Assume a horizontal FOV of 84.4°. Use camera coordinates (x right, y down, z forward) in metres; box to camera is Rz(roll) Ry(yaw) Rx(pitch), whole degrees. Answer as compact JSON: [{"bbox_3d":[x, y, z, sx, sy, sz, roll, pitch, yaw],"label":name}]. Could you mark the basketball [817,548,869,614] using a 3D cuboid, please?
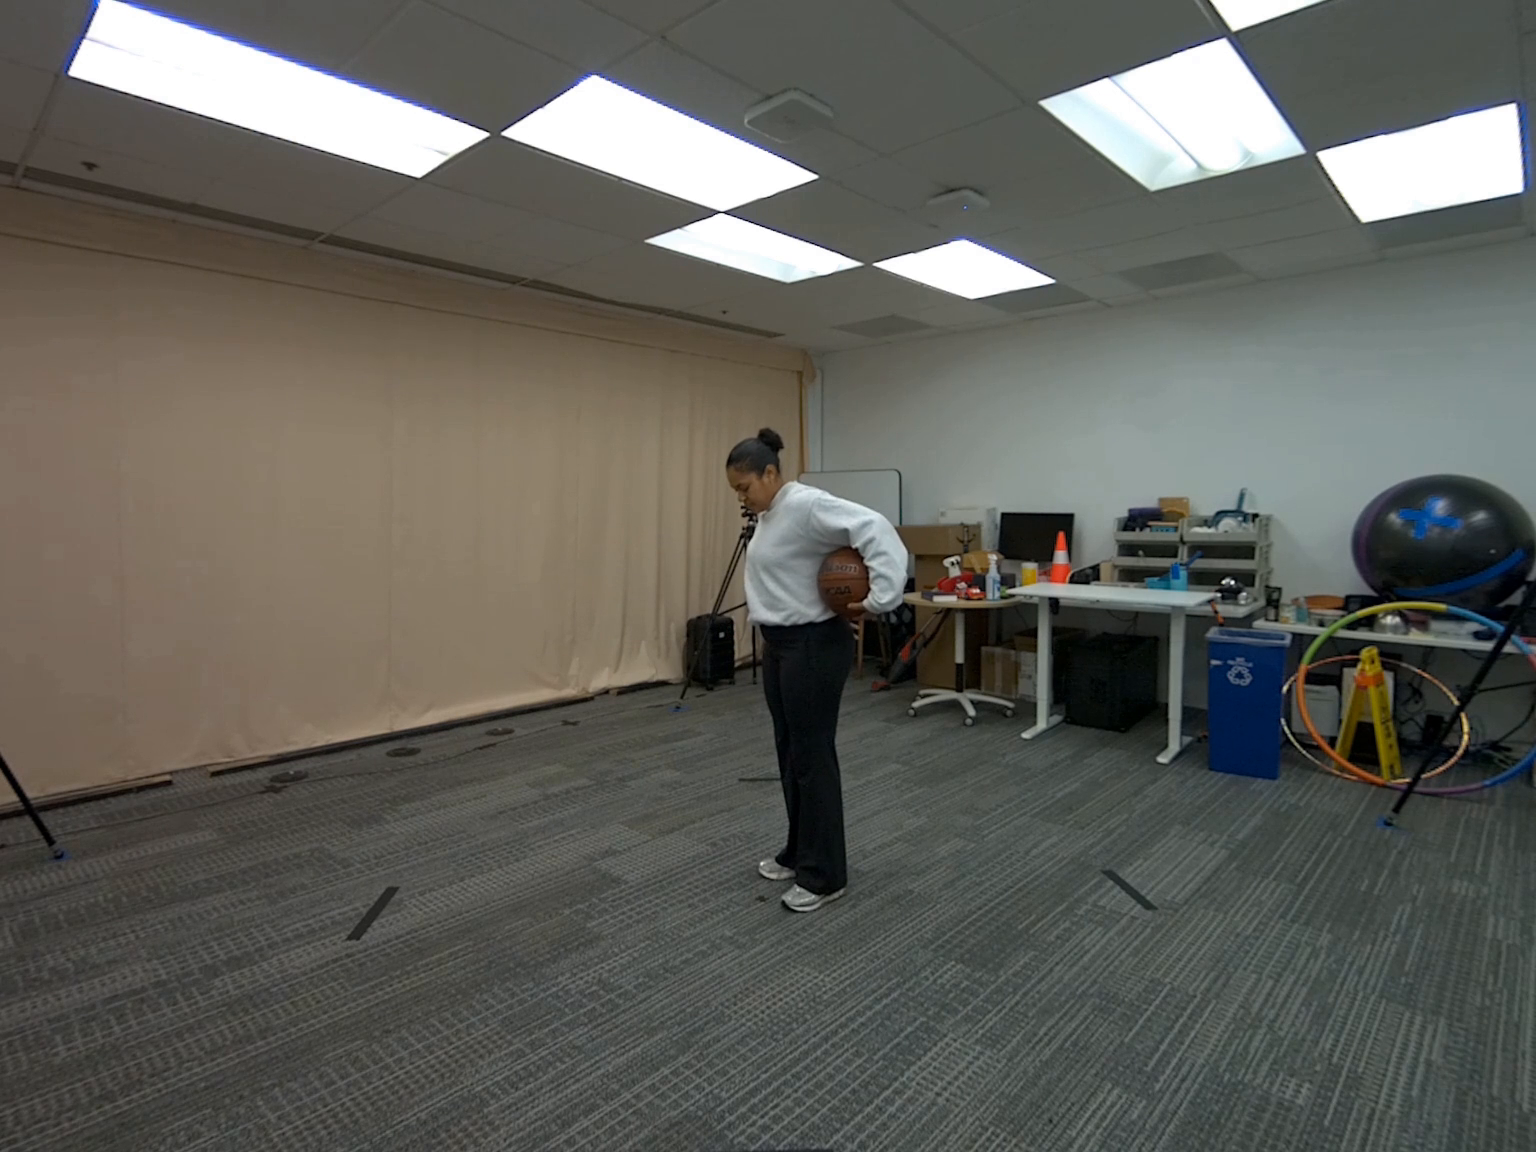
[{"bbox_3d":[0.288,0.017,2.798,0.236,0.235,0.237,0,4,-2],"label":"basketball"}]
